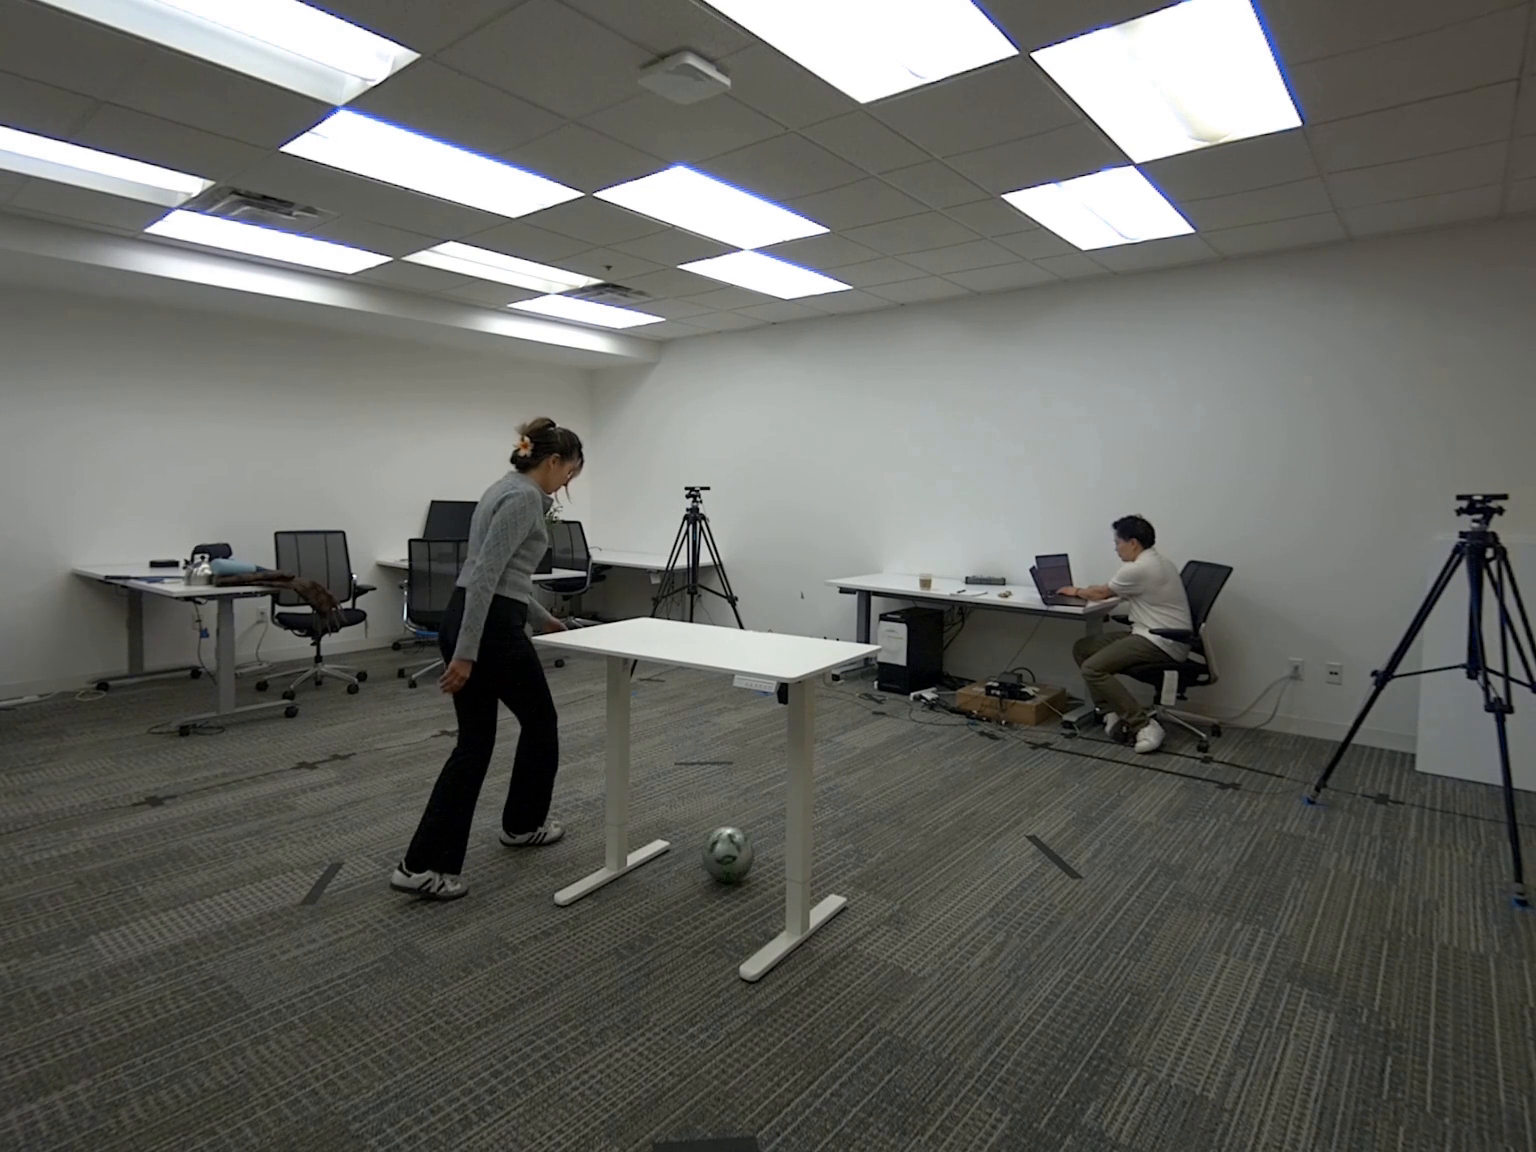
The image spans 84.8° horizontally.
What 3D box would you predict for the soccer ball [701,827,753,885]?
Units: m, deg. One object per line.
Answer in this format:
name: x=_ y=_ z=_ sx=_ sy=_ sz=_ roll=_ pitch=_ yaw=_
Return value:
soccer ball: x=-0.146 y=0.981 z=3.004 sx=0.187 sy=0.187 sz=0.188 roll=0 pitch=4 yaw=-2
